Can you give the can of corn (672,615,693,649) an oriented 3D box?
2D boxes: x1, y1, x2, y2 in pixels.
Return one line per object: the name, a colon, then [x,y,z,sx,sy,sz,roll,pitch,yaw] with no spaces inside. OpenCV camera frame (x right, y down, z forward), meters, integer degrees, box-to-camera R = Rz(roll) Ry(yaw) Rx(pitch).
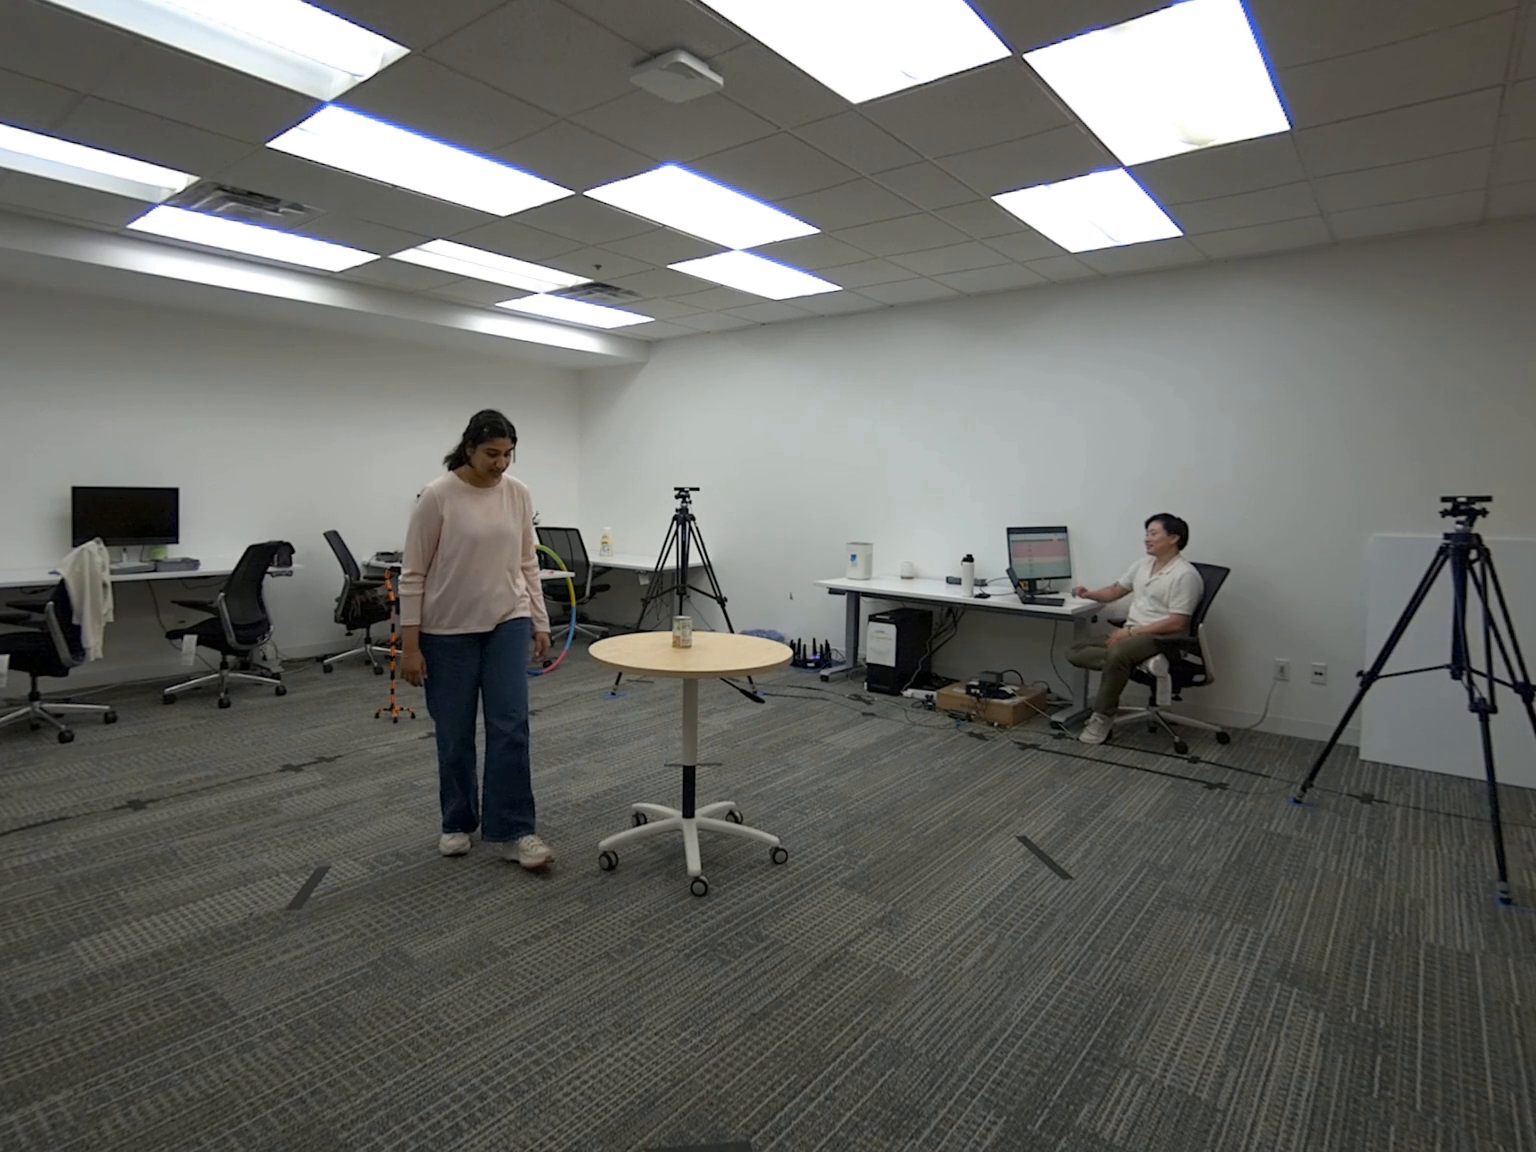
can of corn: [-0.342,0.213,3.246,0.074,0.111,0.074,-1,4,-2]
